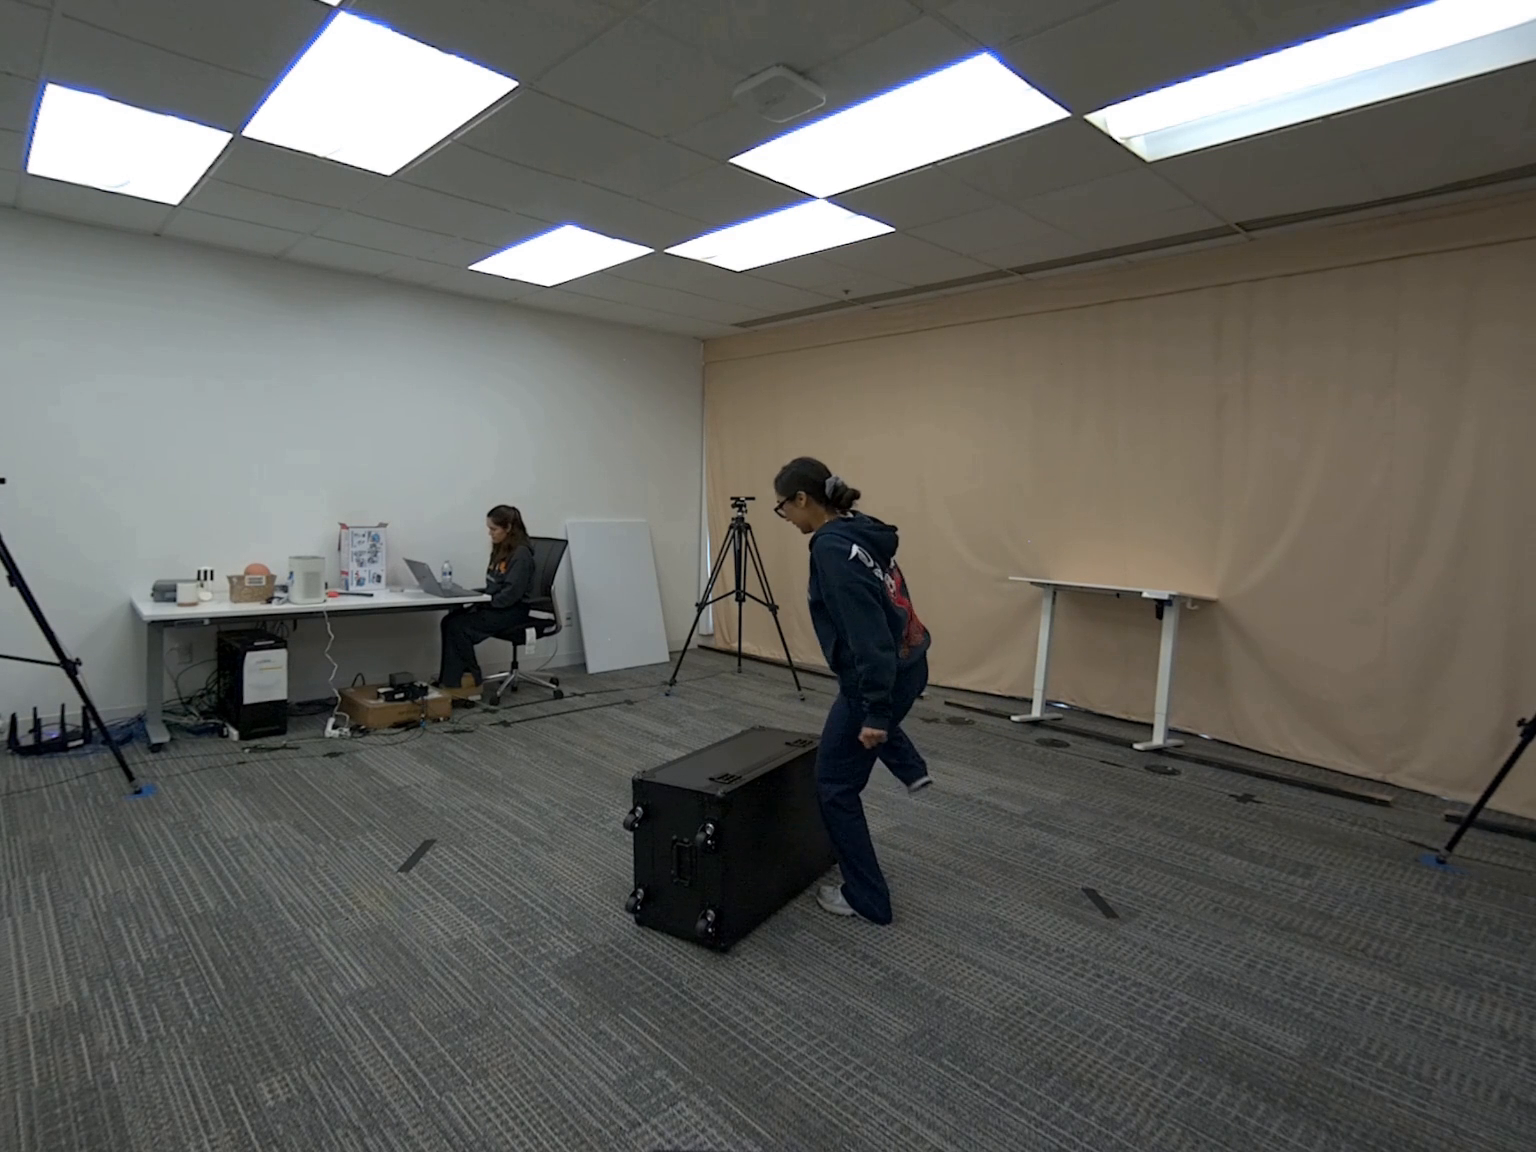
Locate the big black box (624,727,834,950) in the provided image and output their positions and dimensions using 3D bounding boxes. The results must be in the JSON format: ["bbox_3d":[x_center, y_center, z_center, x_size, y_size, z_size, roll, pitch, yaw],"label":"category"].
[{"bbox_3d":[-0.122,0.869,2.938,0.404,0.520,0.845,0,3,30],"label":"big black box"}]
